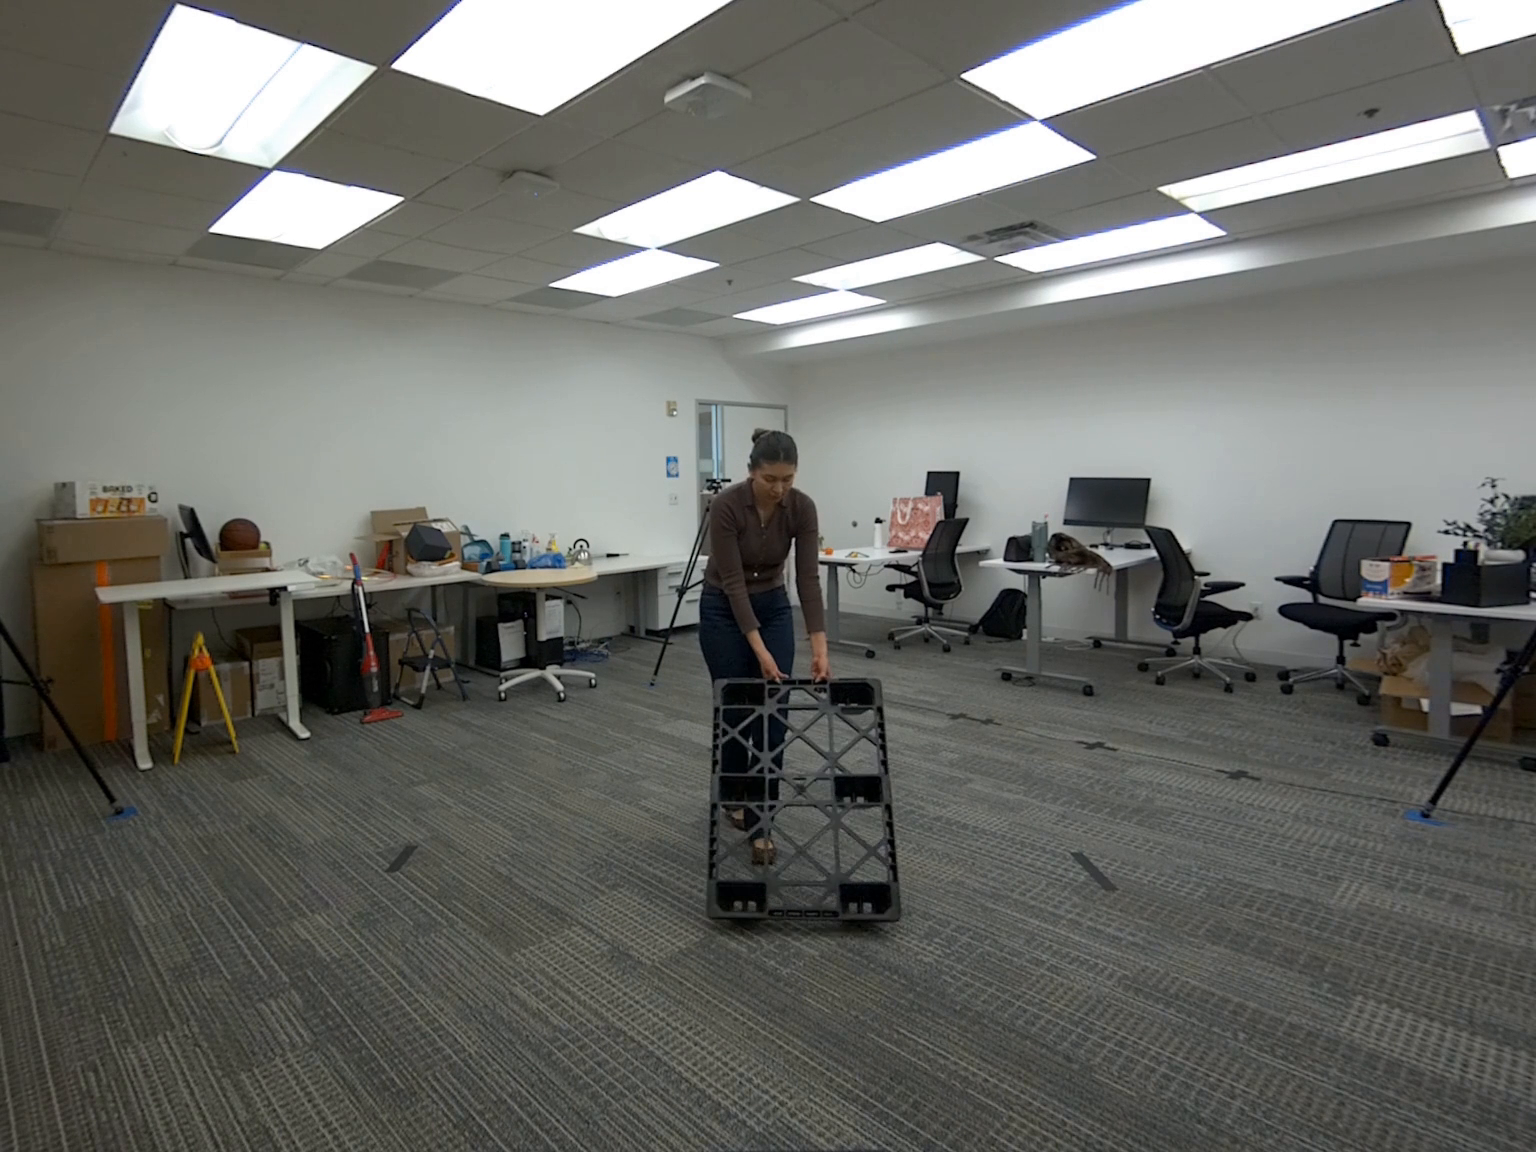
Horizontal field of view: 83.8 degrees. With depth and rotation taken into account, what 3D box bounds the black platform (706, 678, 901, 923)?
[{"bbox_3d":[0.120,0.736,2.887,0.608,0.825,0.139,-1,-33,4],"label":"black platform"}]
